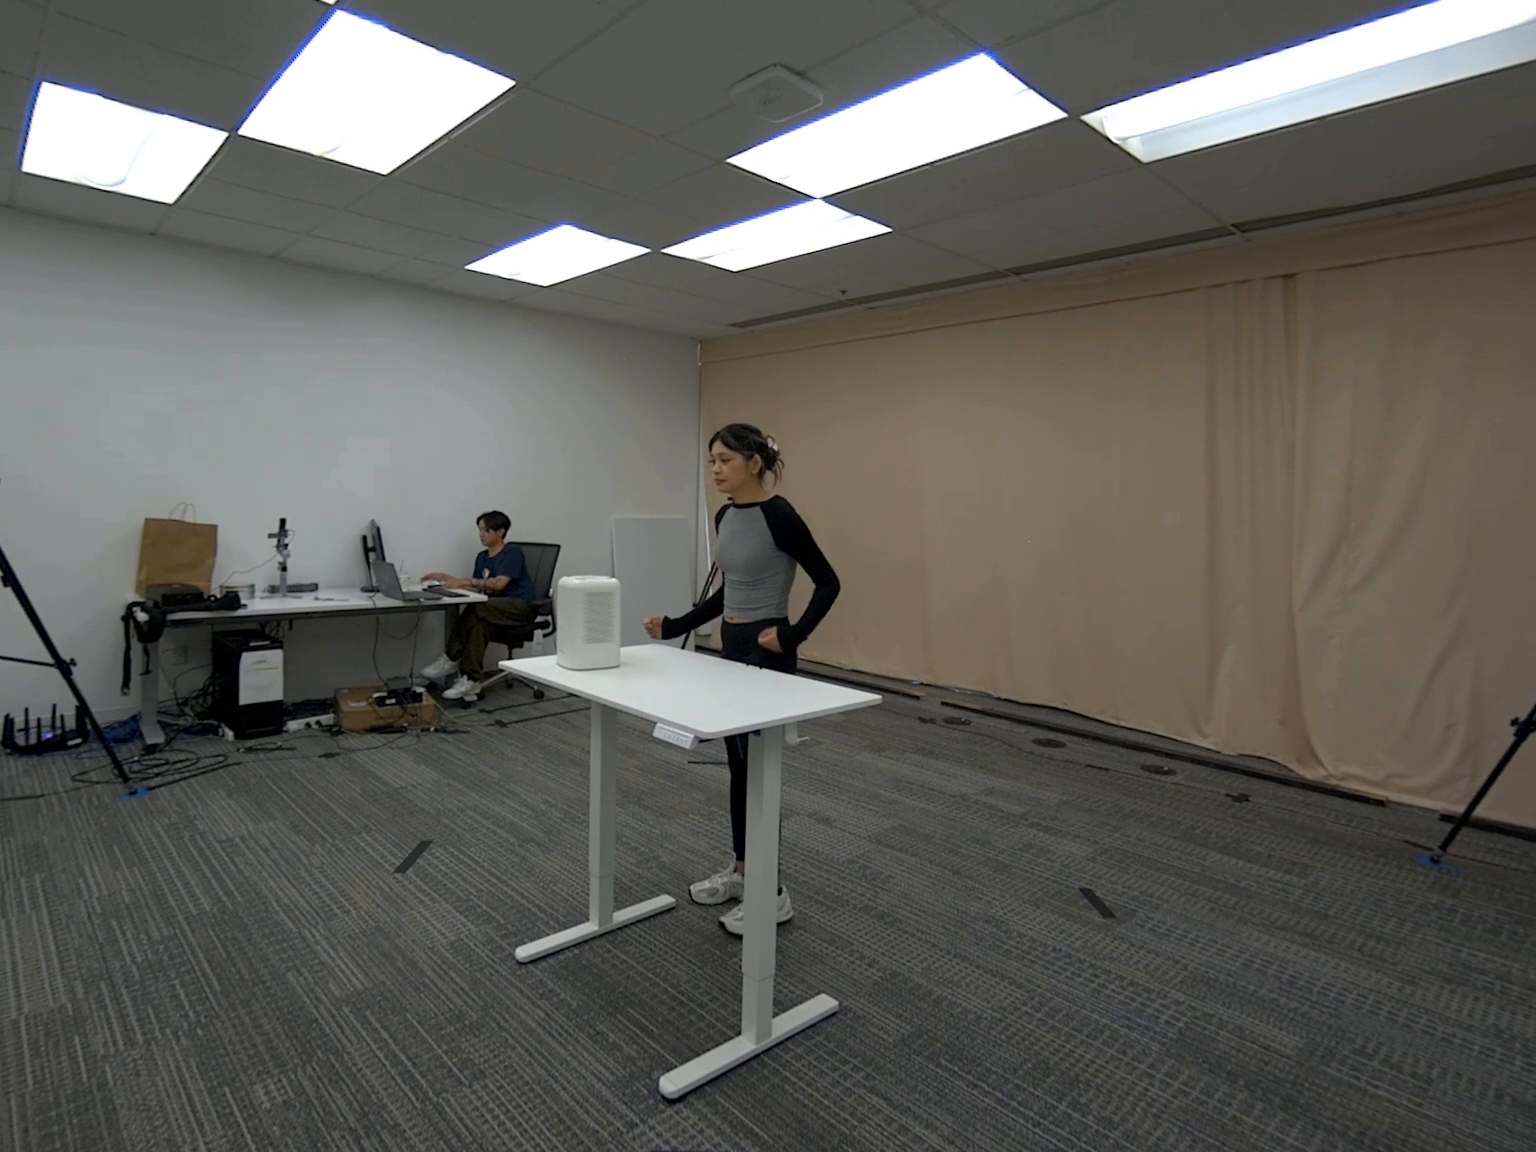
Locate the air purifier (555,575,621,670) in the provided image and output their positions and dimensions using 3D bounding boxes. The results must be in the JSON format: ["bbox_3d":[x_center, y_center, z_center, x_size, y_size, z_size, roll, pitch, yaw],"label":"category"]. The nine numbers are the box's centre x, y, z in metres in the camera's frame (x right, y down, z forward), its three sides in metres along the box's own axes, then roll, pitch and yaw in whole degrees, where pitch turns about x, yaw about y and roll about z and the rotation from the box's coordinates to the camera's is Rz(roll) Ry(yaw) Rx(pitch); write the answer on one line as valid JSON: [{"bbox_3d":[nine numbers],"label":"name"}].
[{"bbox_3d":[-0.549,0.137,2.535,0.168,0.265,0.175,0,2,-32],"label":"air purifier"}]
